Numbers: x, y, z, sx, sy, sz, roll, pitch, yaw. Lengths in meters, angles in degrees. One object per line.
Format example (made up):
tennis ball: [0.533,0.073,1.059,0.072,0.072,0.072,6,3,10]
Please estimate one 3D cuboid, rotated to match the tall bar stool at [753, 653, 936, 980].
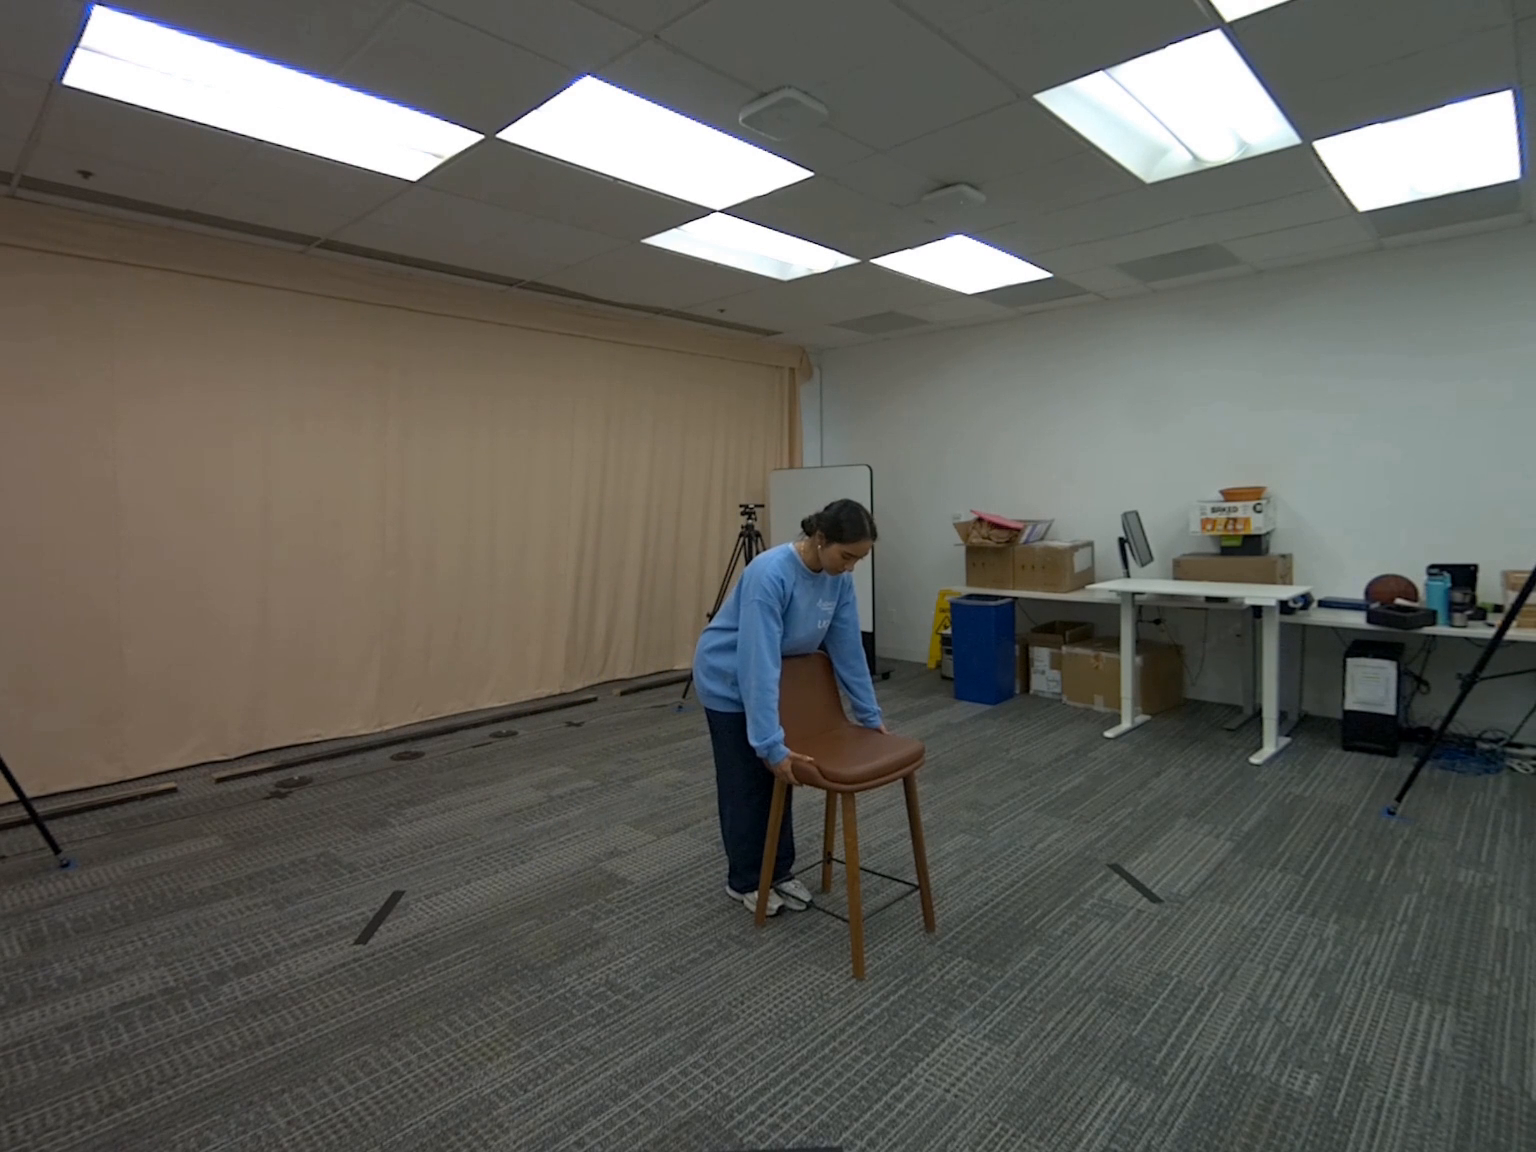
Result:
tall bar stool: [0.237,0.721,2.734,0.483,0.889,0.442,0,3,45]
